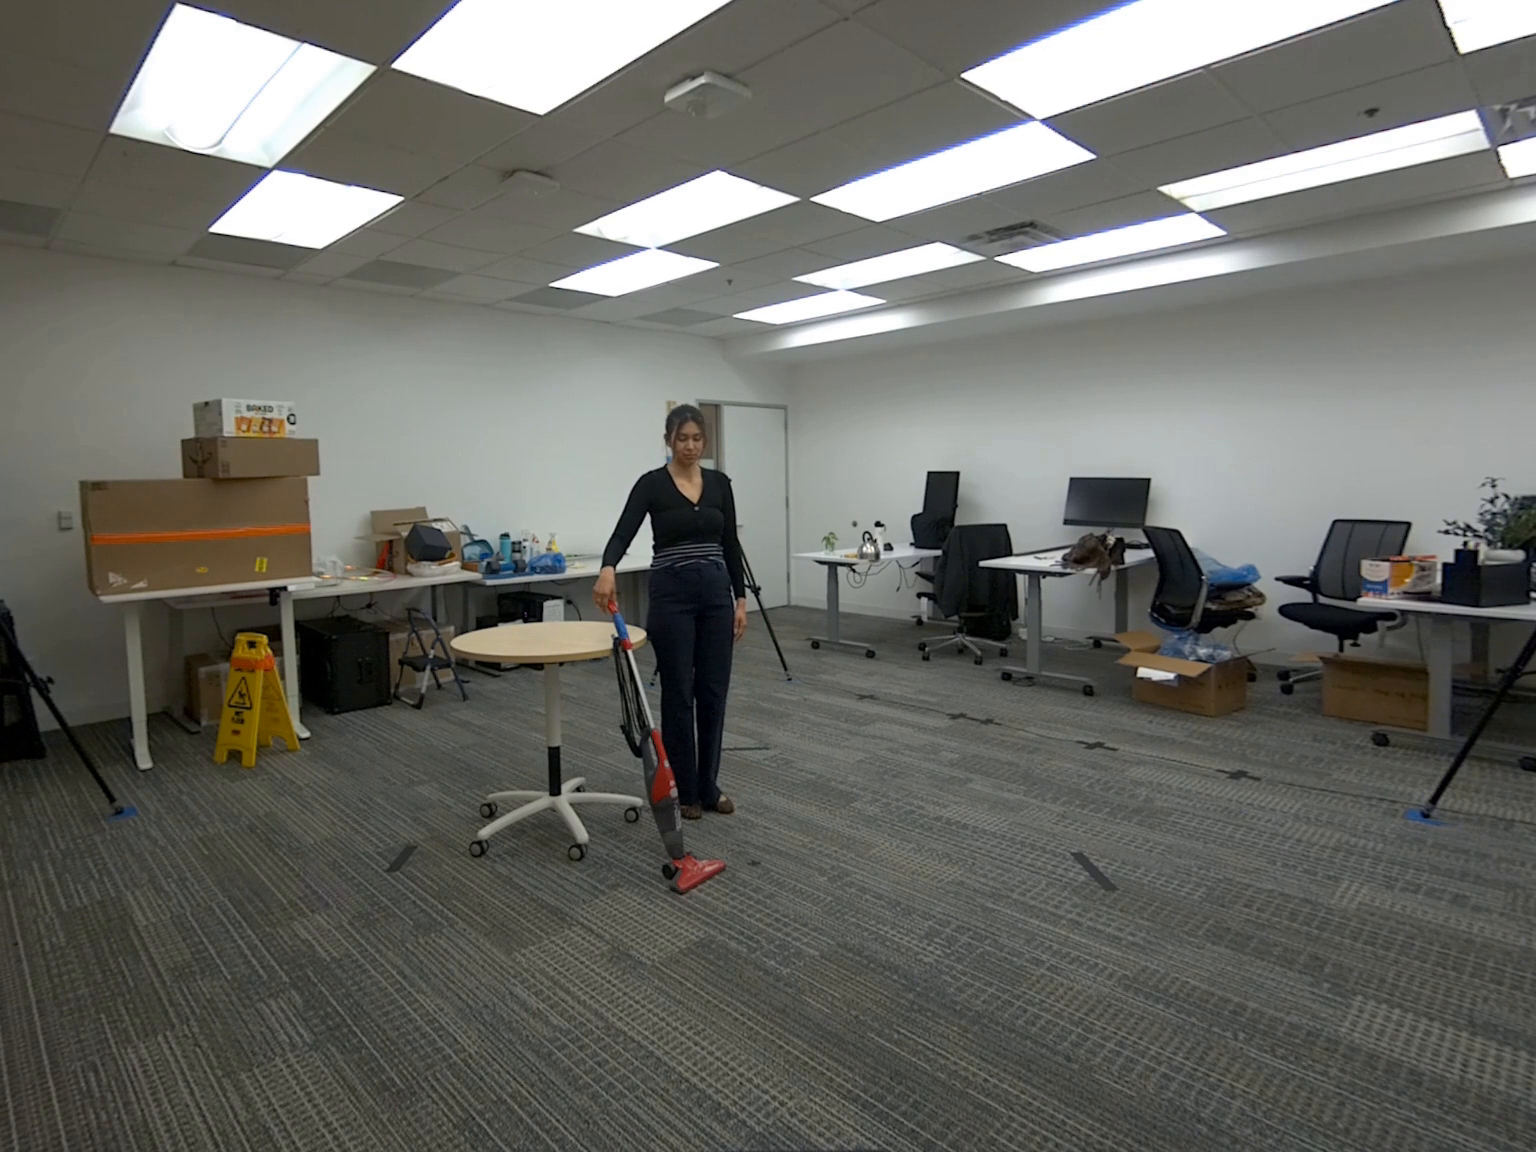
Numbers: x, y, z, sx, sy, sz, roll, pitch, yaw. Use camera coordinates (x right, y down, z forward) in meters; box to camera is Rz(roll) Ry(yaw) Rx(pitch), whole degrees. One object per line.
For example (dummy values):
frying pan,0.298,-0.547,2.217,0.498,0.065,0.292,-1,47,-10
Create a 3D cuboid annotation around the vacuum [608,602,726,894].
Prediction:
vacuum,-0.445,0.571,3.111,0.146,1.064,0.246,-29,-15,40
